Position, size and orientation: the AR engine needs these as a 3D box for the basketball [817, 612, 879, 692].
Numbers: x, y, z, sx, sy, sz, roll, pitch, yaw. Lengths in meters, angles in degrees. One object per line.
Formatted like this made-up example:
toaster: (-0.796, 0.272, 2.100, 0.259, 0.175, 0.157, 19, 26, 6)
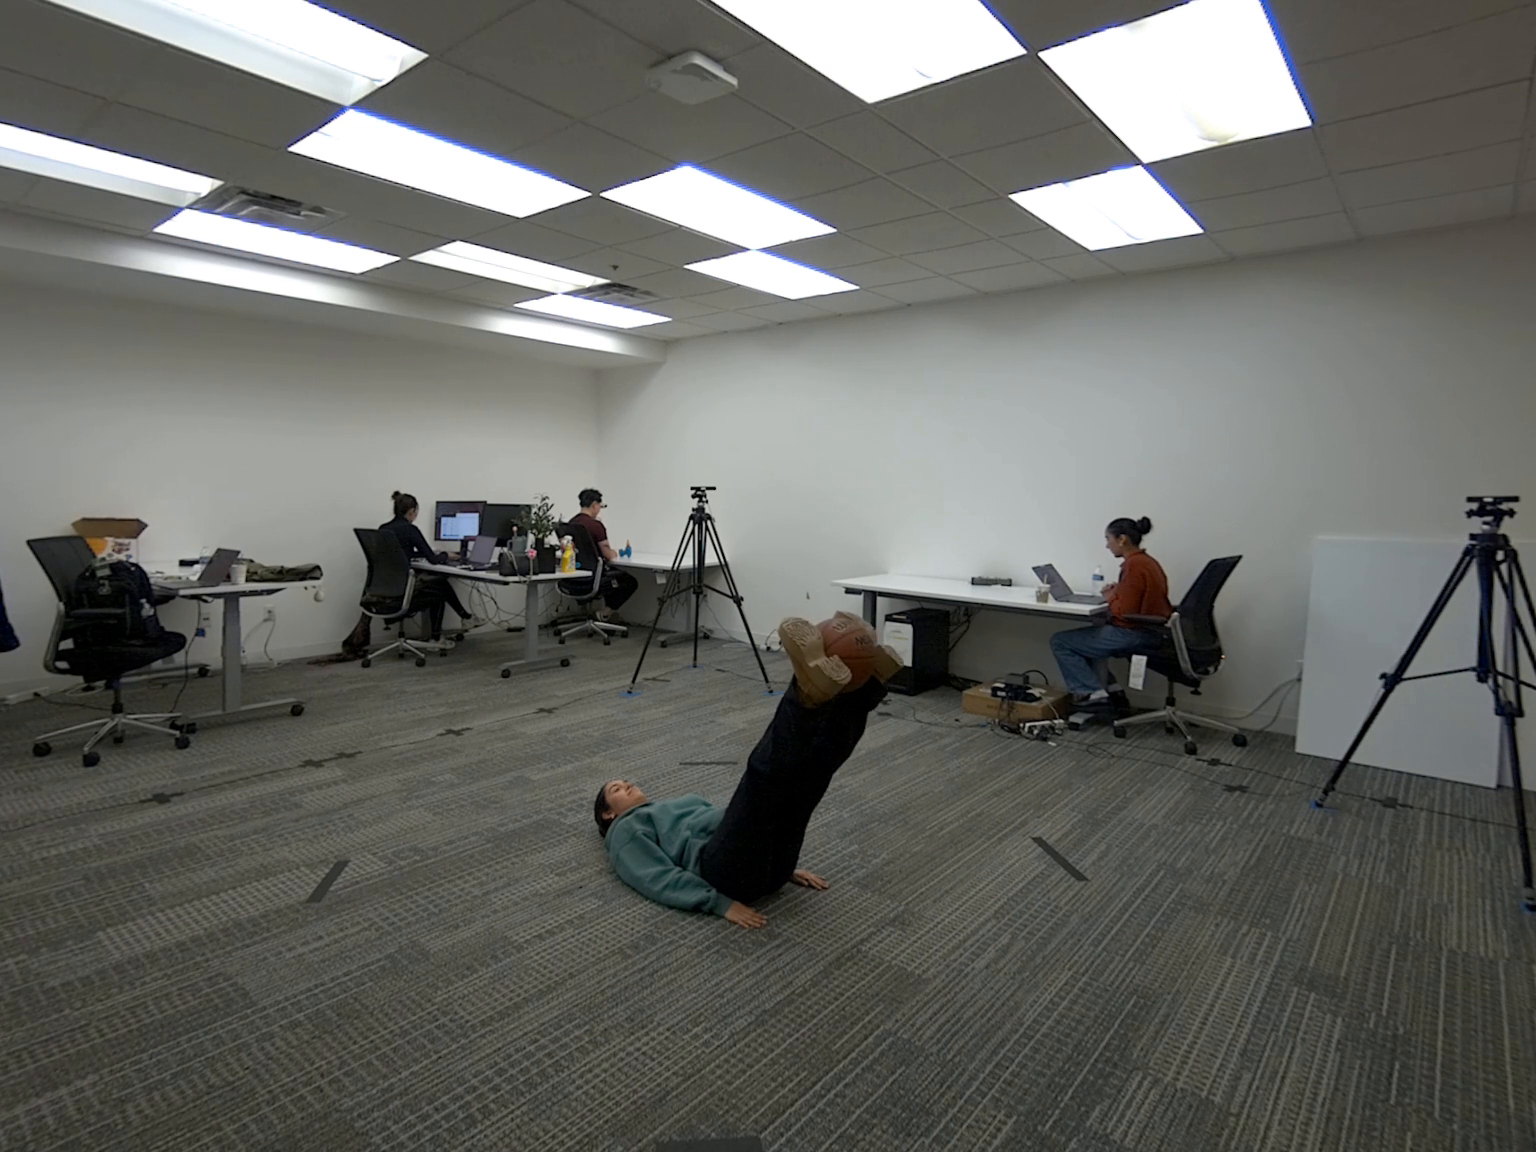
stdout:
basketball: (0.218, 0.250, 2.701, 0.236, 0.235, 0.237, 0, 4, -2)
